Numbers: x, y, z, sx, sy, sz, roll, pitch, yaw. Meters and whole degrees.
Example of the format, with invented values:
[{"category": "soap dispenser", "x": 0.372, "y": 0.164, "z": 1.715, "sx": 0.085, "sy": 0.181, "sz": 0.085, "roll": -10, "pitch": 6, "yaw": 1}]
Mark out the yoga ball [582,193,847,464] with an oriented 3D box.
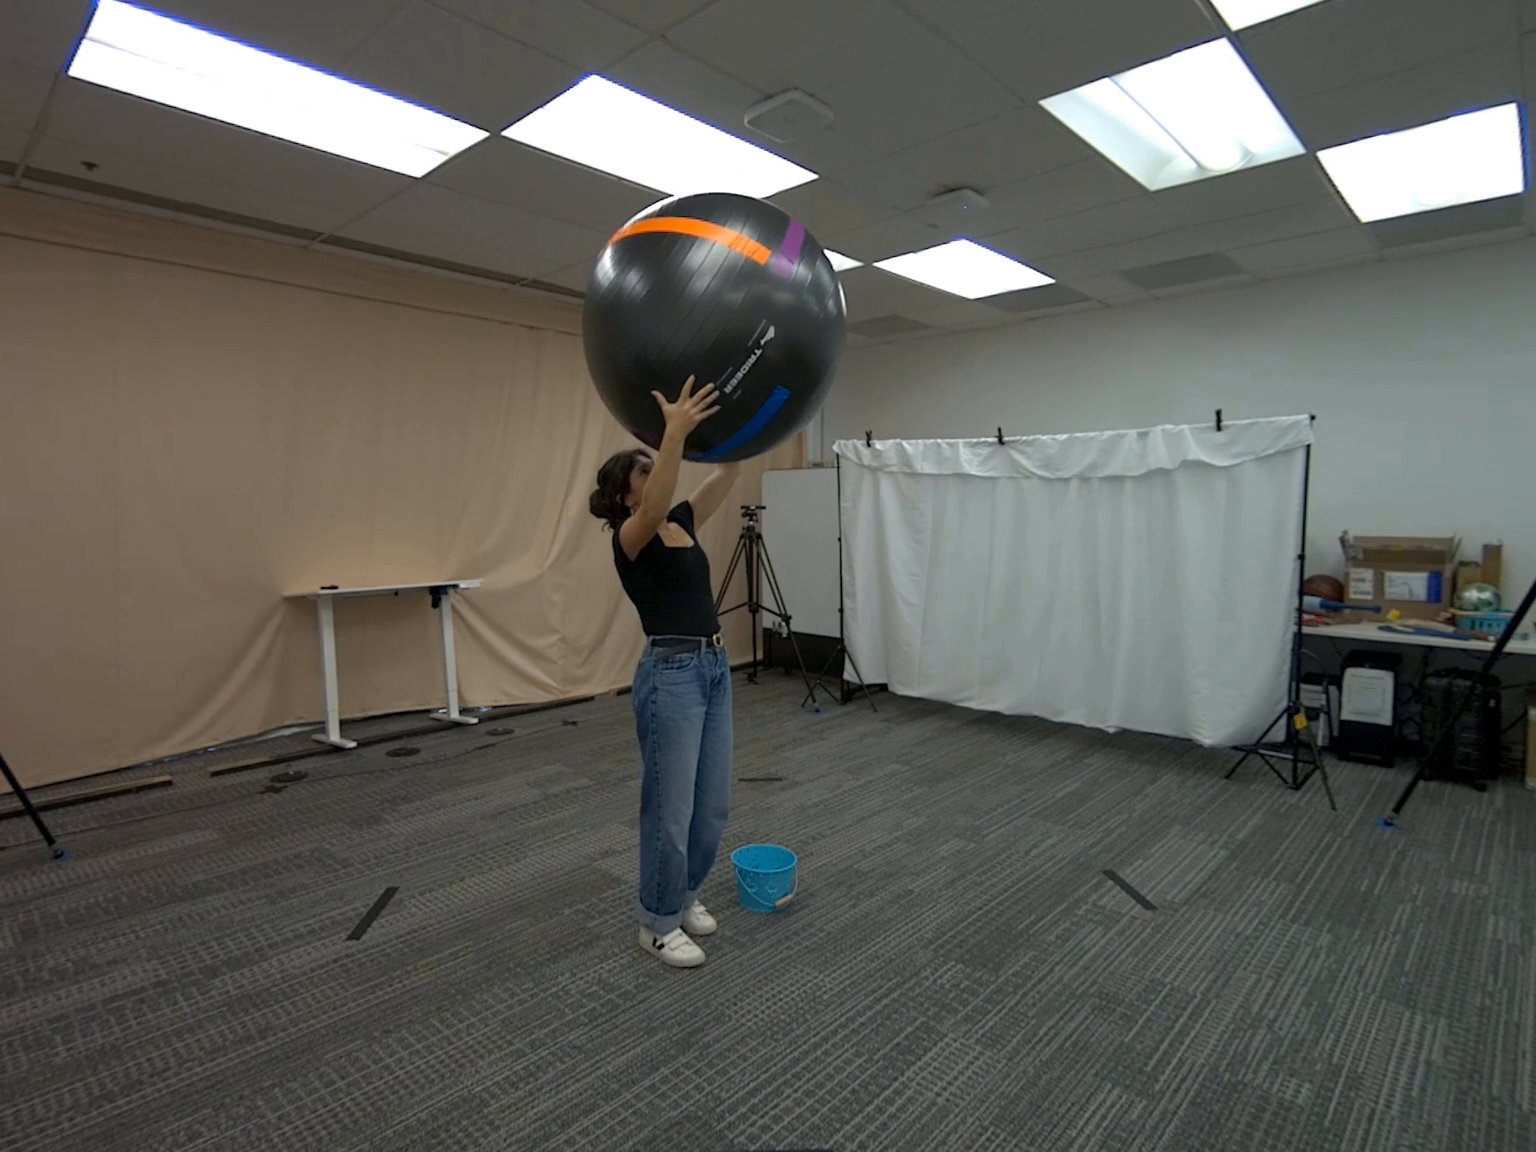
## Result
[{"category": "yoga ball", "x": -0.157, "y": -0.700, "z": 2.433, "sx": 0.757, "sy": 0.756, "sz": 0.760, "roll": 0, "pitch": 4, "yaw": -2}]
